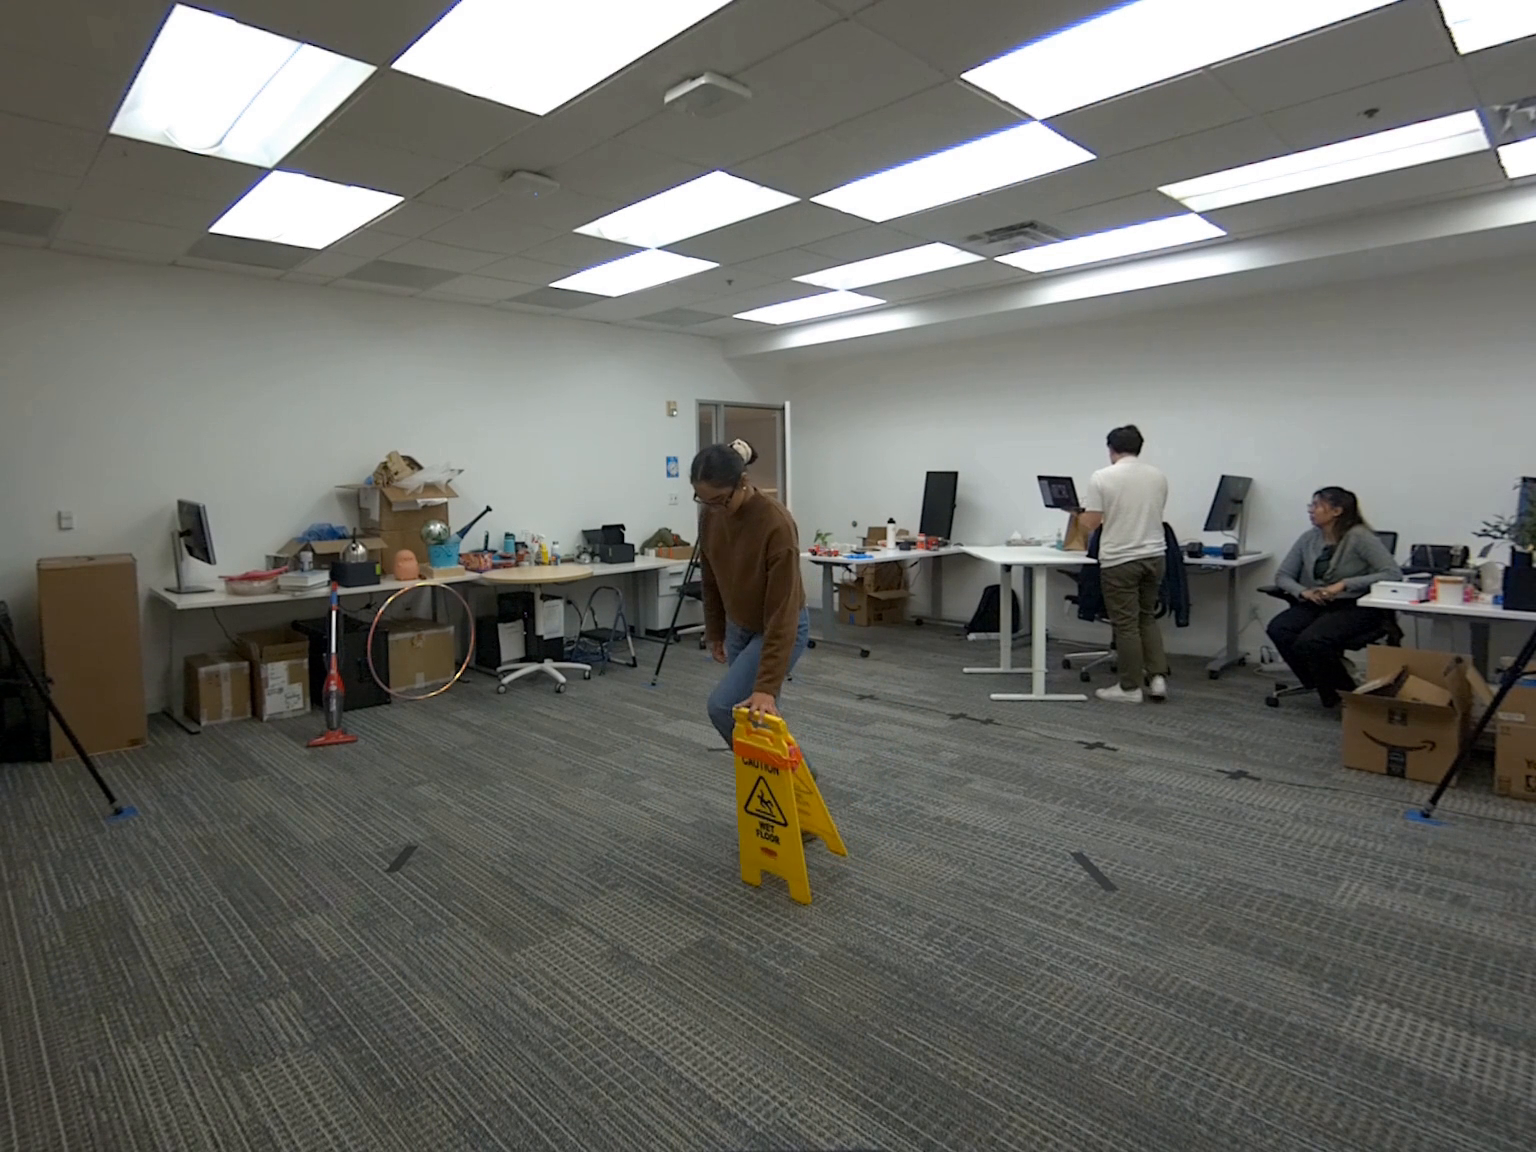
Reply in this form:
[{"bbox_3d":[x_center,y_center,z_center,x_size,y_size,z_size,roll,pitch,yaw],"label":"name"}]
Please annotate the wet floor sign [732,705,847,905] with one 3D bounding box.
[{"bbox_3d":[0.032,0.729,2.840,0.291,0.632,0.287,5,28,39],"label":"wet floor sign"}]
